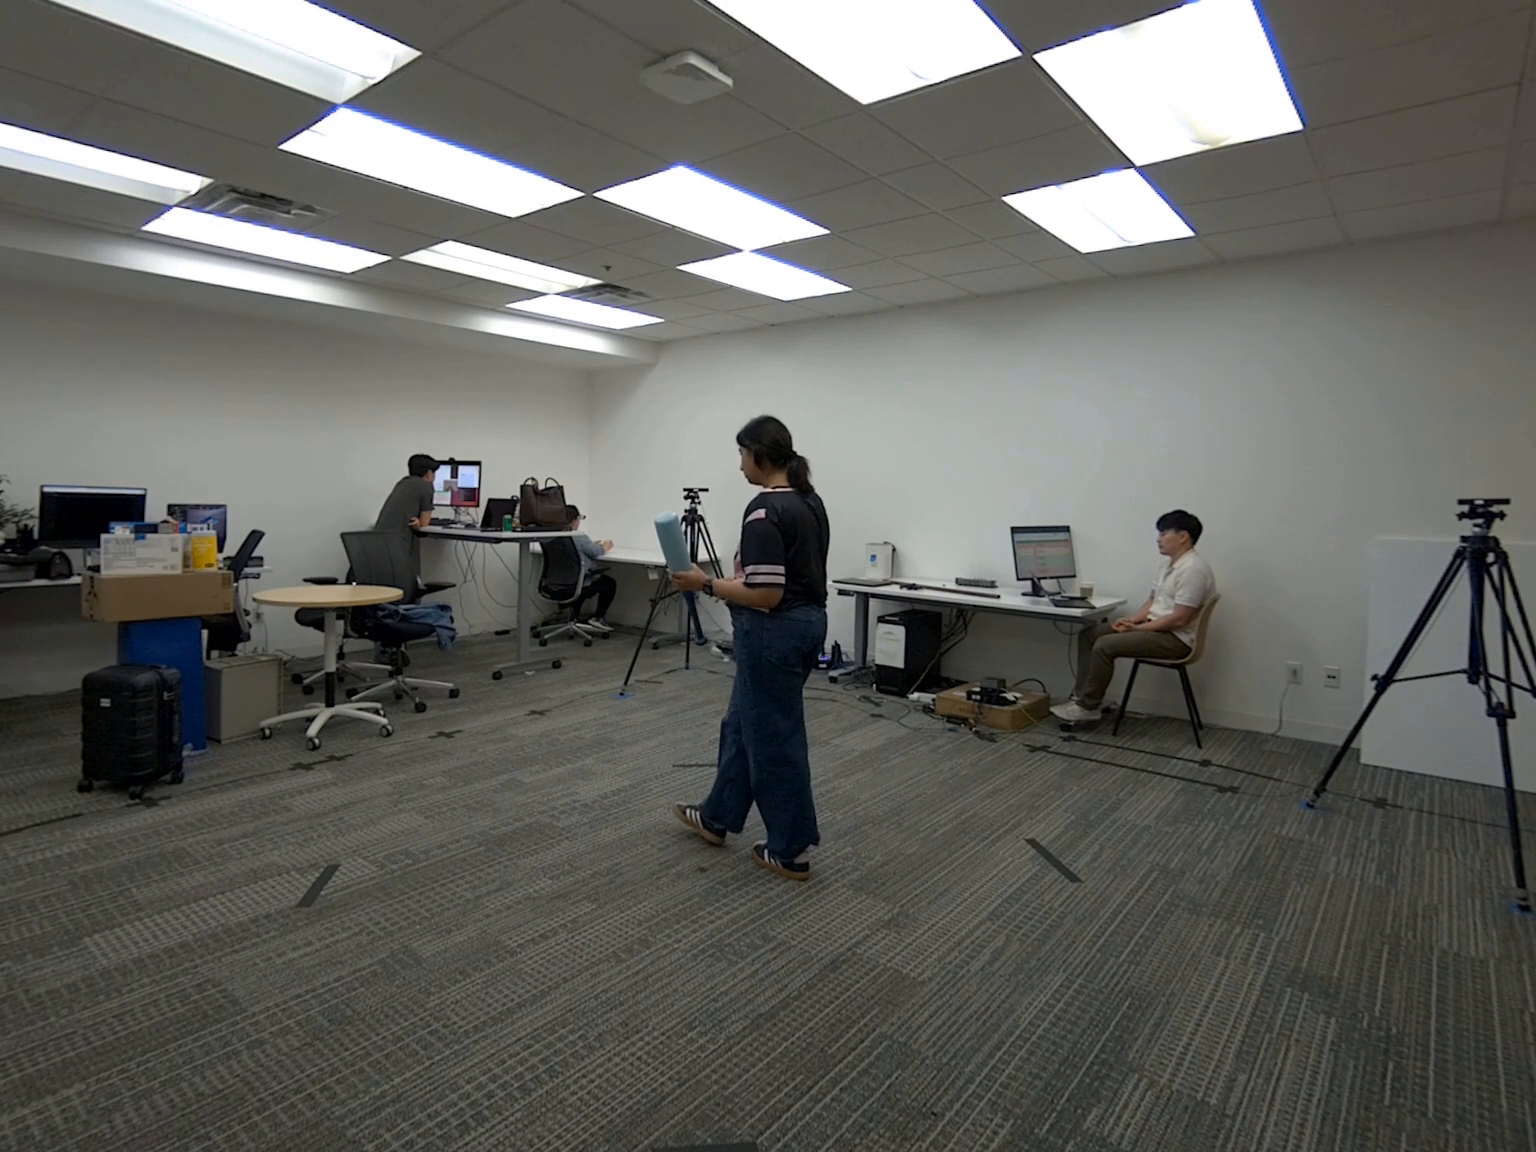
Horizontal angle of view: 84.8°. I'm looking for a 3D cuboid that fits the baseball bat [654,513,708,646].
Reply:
[{"bbox_3d":[-0.295,0.009,3.074,0.089,0.528,0.091,-12,25,4],"label":"baseball bat"}]
